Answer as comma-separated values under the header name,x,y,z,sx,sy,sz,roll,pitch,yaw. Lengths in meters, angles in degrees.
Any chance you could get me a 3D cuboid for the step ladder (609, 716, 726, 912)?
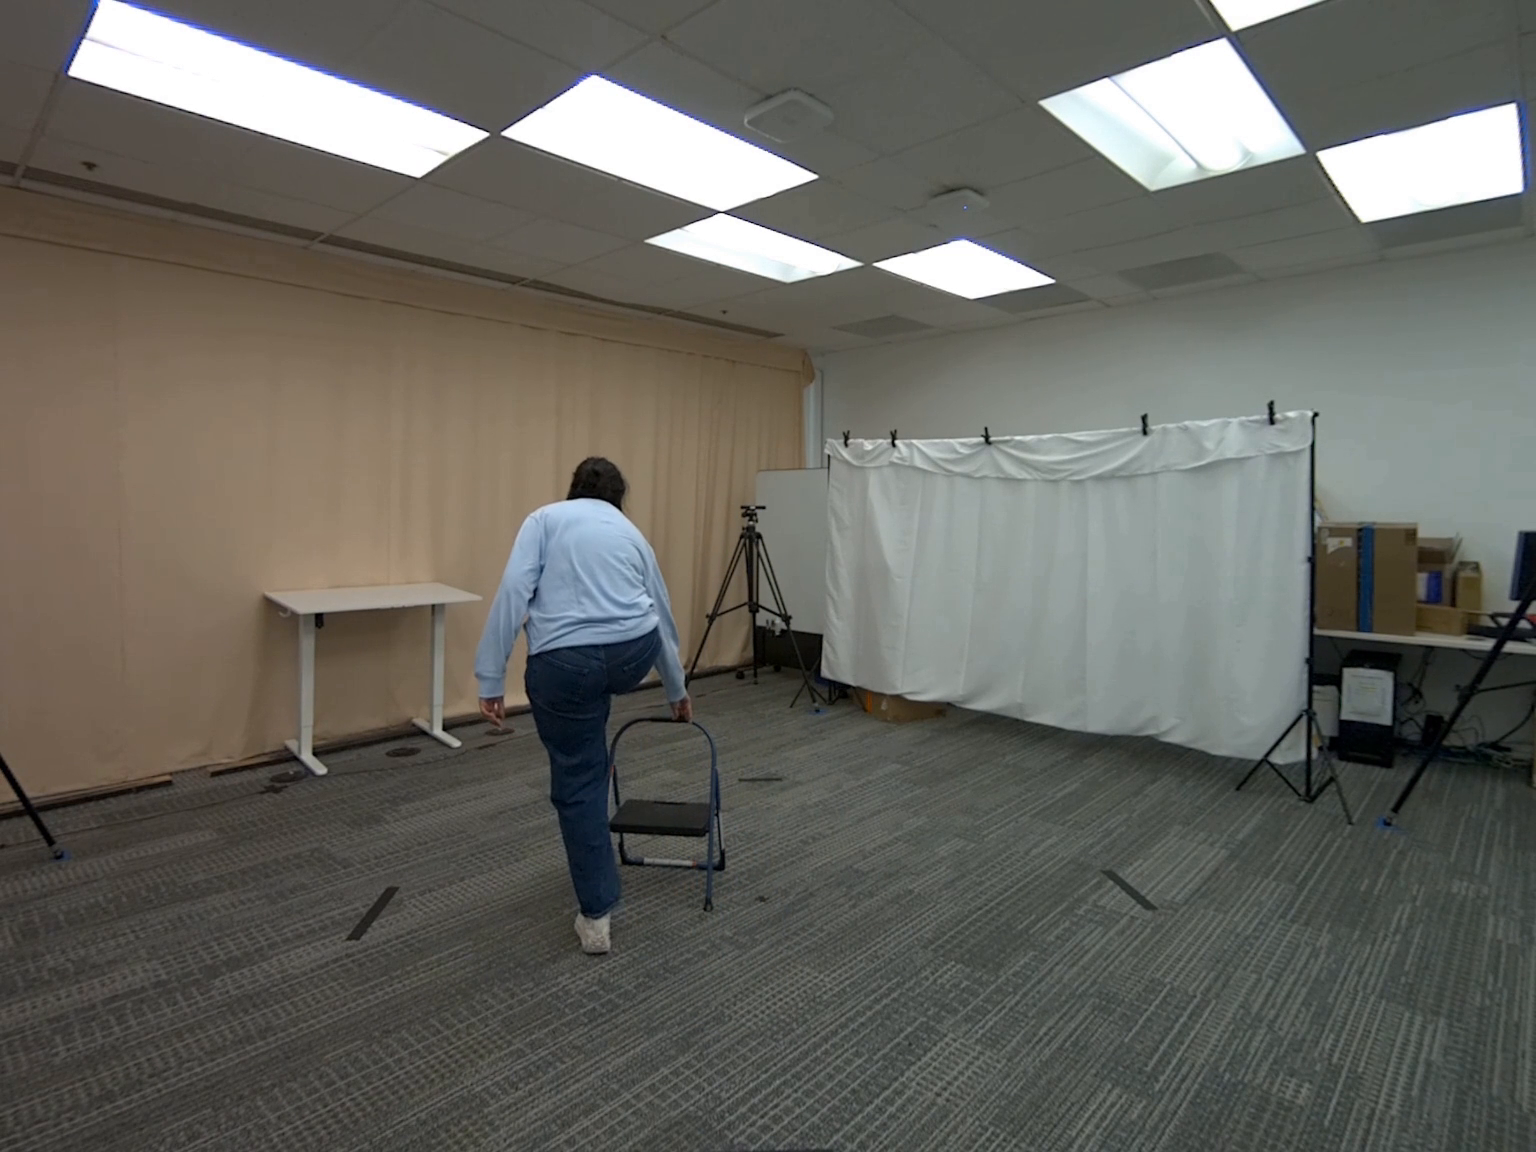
name,x,y,z,sx,sy,sz,roll,pitch,yaw
step ladder,-0.384,0.838,3.088,0.435,0.604,0.347,0,4,8
